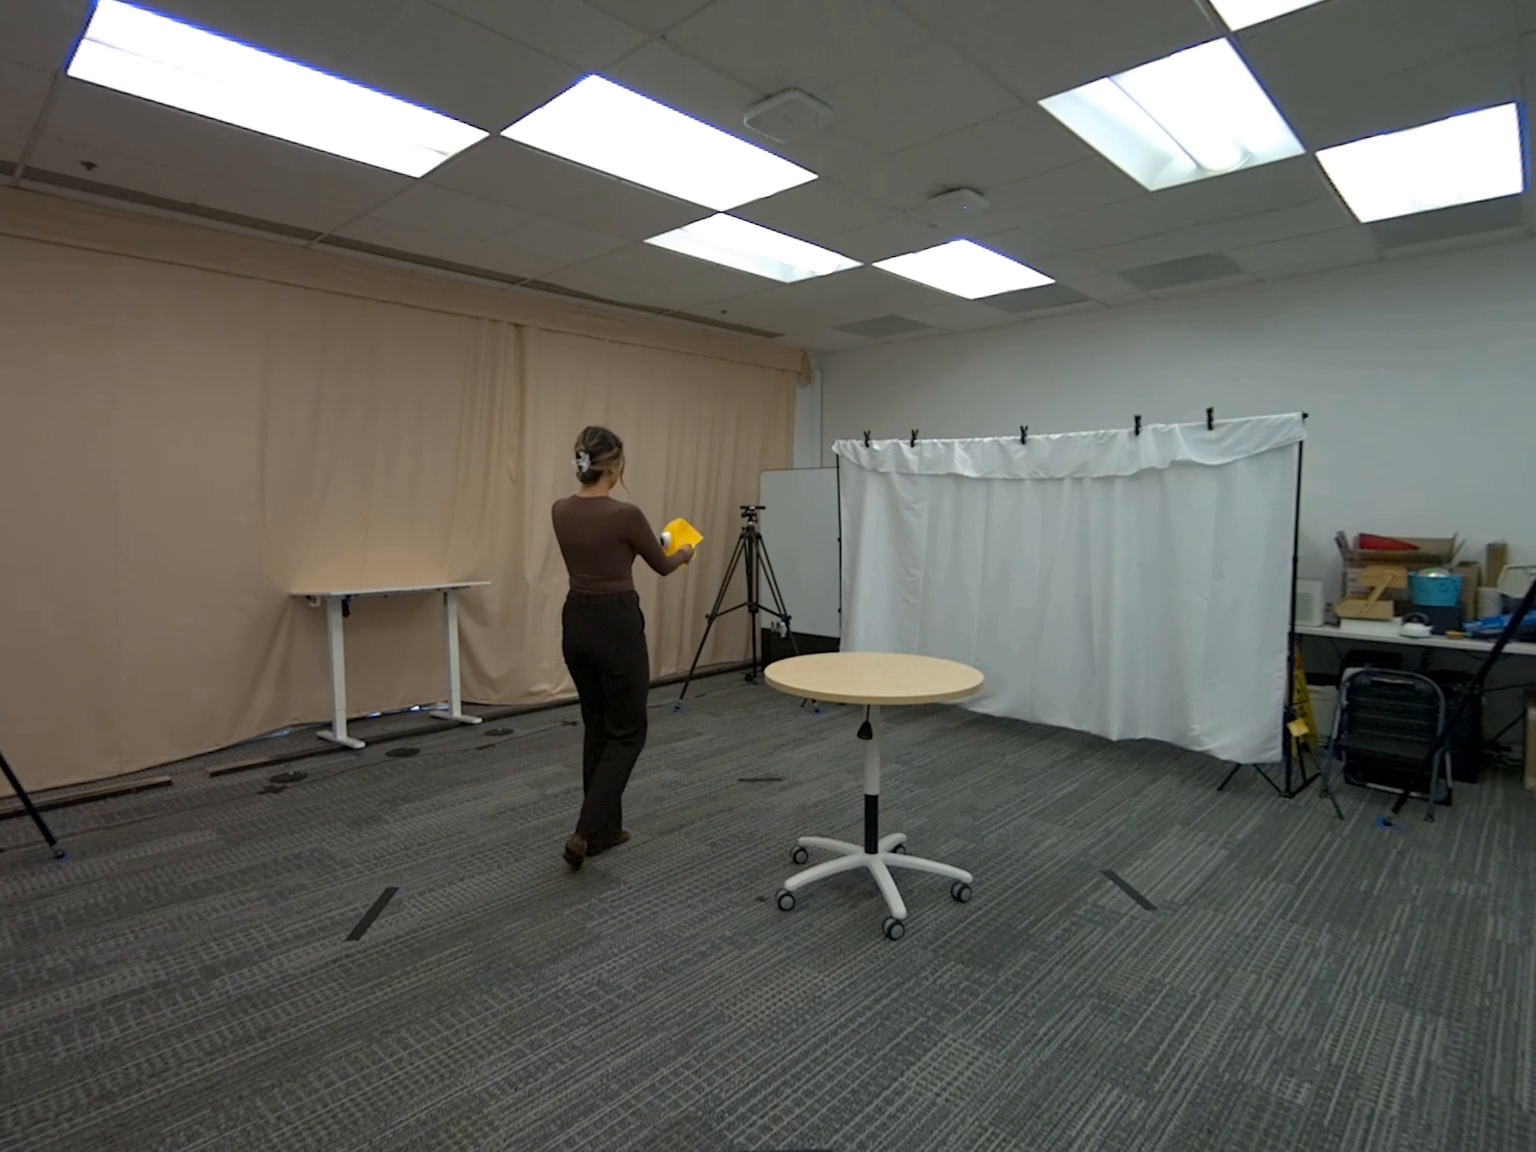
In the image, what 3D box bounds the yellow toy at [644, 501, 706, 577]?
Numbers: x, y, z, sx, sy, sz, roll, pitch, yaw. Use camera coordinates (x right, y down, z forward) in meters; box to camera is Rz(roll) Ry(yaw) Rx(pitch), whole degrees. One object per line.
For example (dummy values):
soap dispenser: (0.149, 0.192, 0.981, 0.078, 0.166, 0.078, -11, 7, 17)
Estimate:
yellow toy: (-0.426, -0.170, 3.765, 0.199, 0.226, 0.202, 16, 38, 29)
